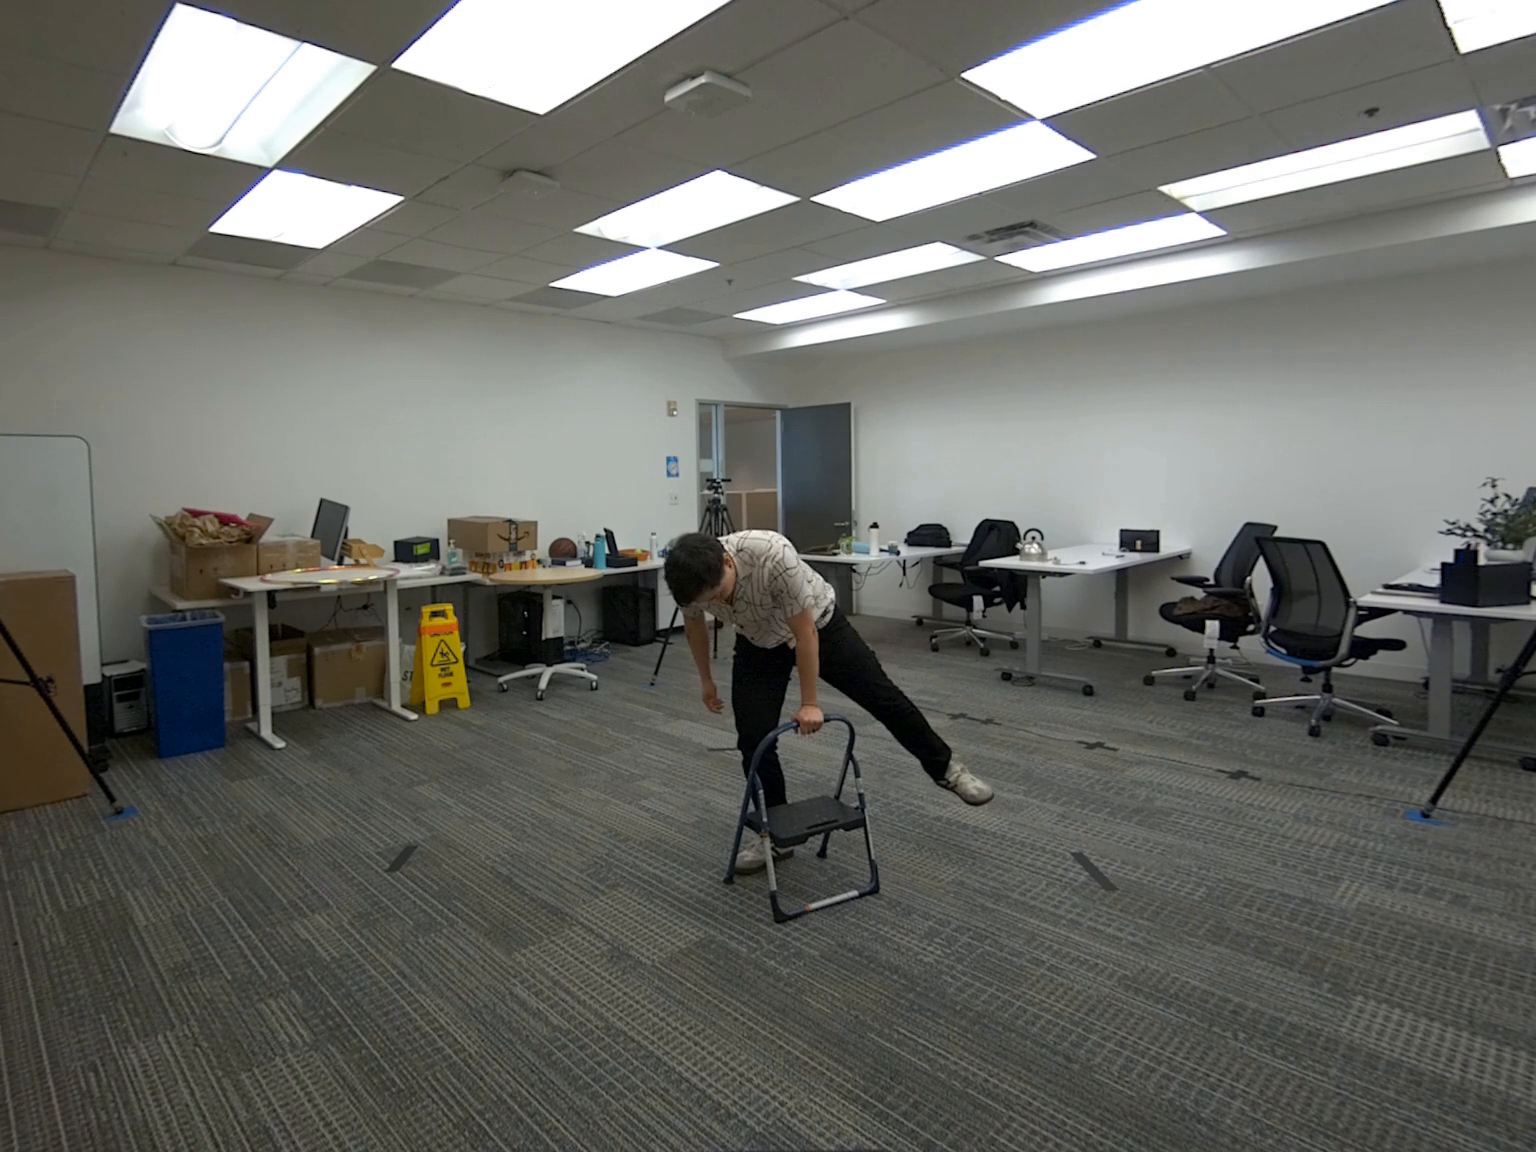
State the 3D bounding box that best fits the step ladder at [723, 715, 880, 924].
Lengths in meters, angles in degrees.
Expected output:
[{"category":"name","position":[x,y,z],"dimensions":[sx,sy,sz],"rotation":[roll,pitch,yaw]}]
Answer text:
[{"category":"step ladder","position":[0.110,0.762,2.900],"dimensions":[0.420,0.604,0.359],"rotation":[-3,5,-31]}]
